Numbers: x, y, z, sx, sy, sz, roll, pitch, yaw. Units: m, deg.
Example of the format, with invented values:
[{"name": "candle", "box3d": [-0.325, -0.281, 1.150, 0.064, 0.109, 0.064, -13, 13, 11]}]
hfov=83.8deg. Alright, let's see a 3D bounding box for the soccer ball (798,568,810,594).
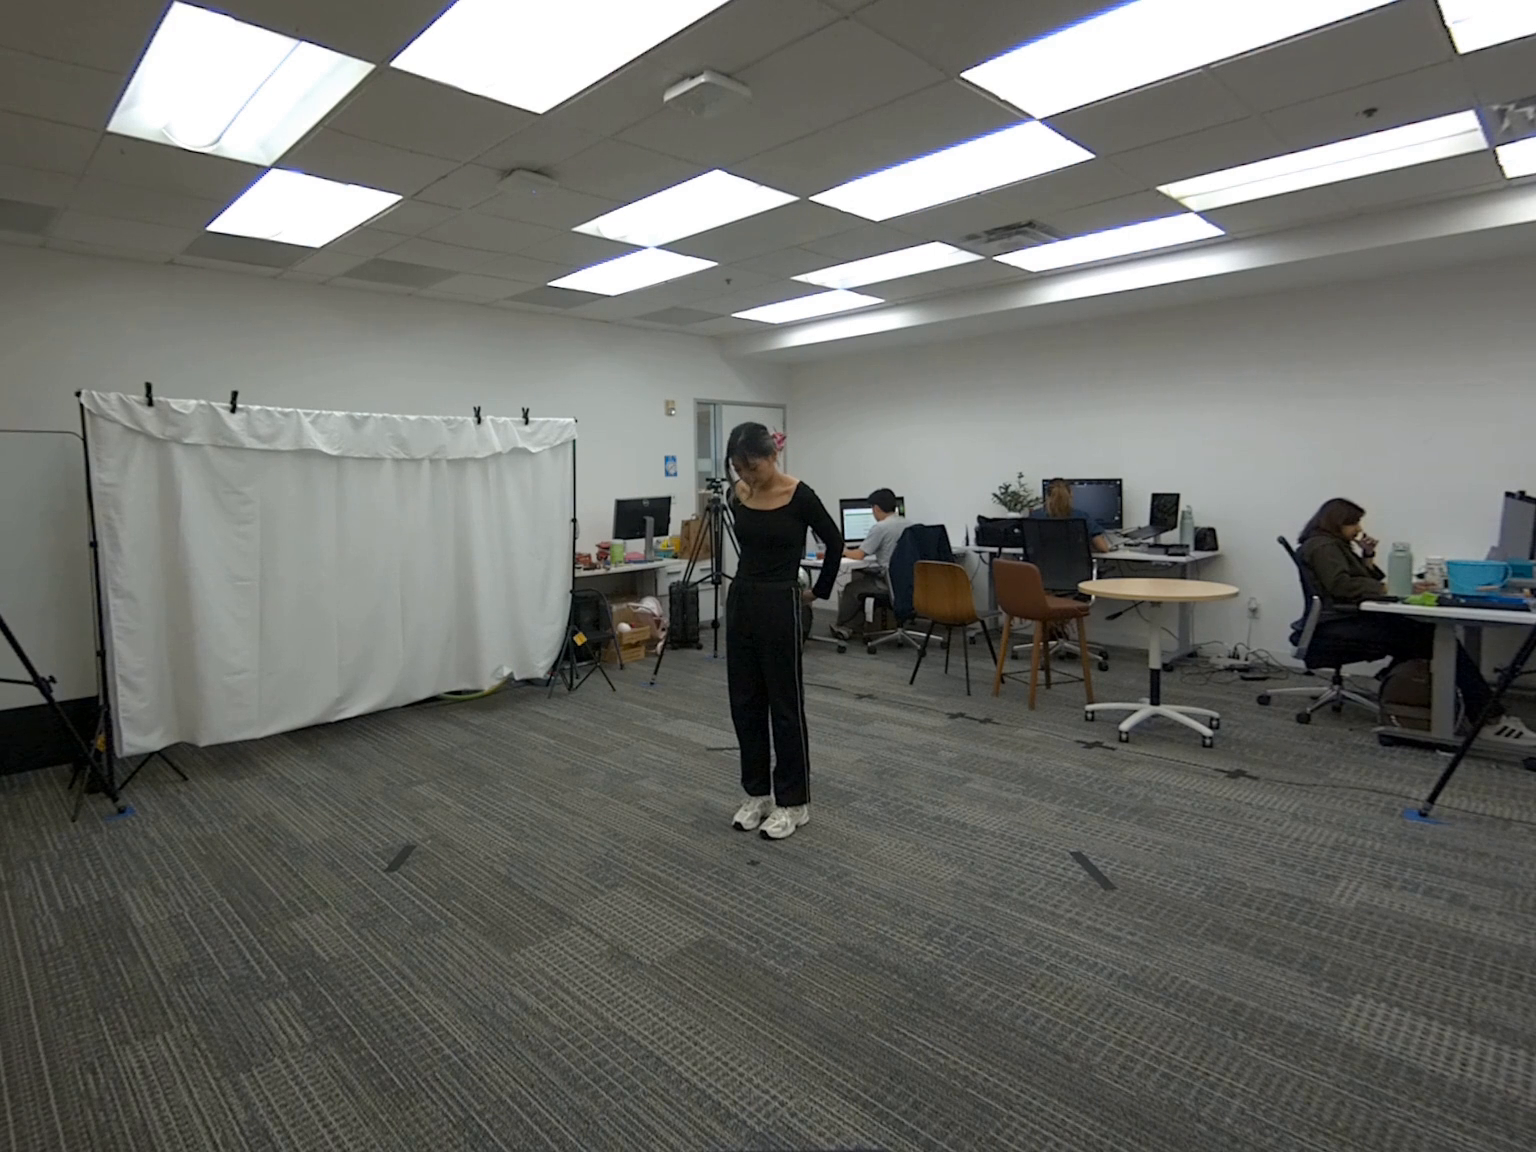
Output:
[{"name": "soccer ball", "box3d": [0.089, 0.040, 3.609, 0.187, 0.187, 0.188, -1, 5, -2]}]
